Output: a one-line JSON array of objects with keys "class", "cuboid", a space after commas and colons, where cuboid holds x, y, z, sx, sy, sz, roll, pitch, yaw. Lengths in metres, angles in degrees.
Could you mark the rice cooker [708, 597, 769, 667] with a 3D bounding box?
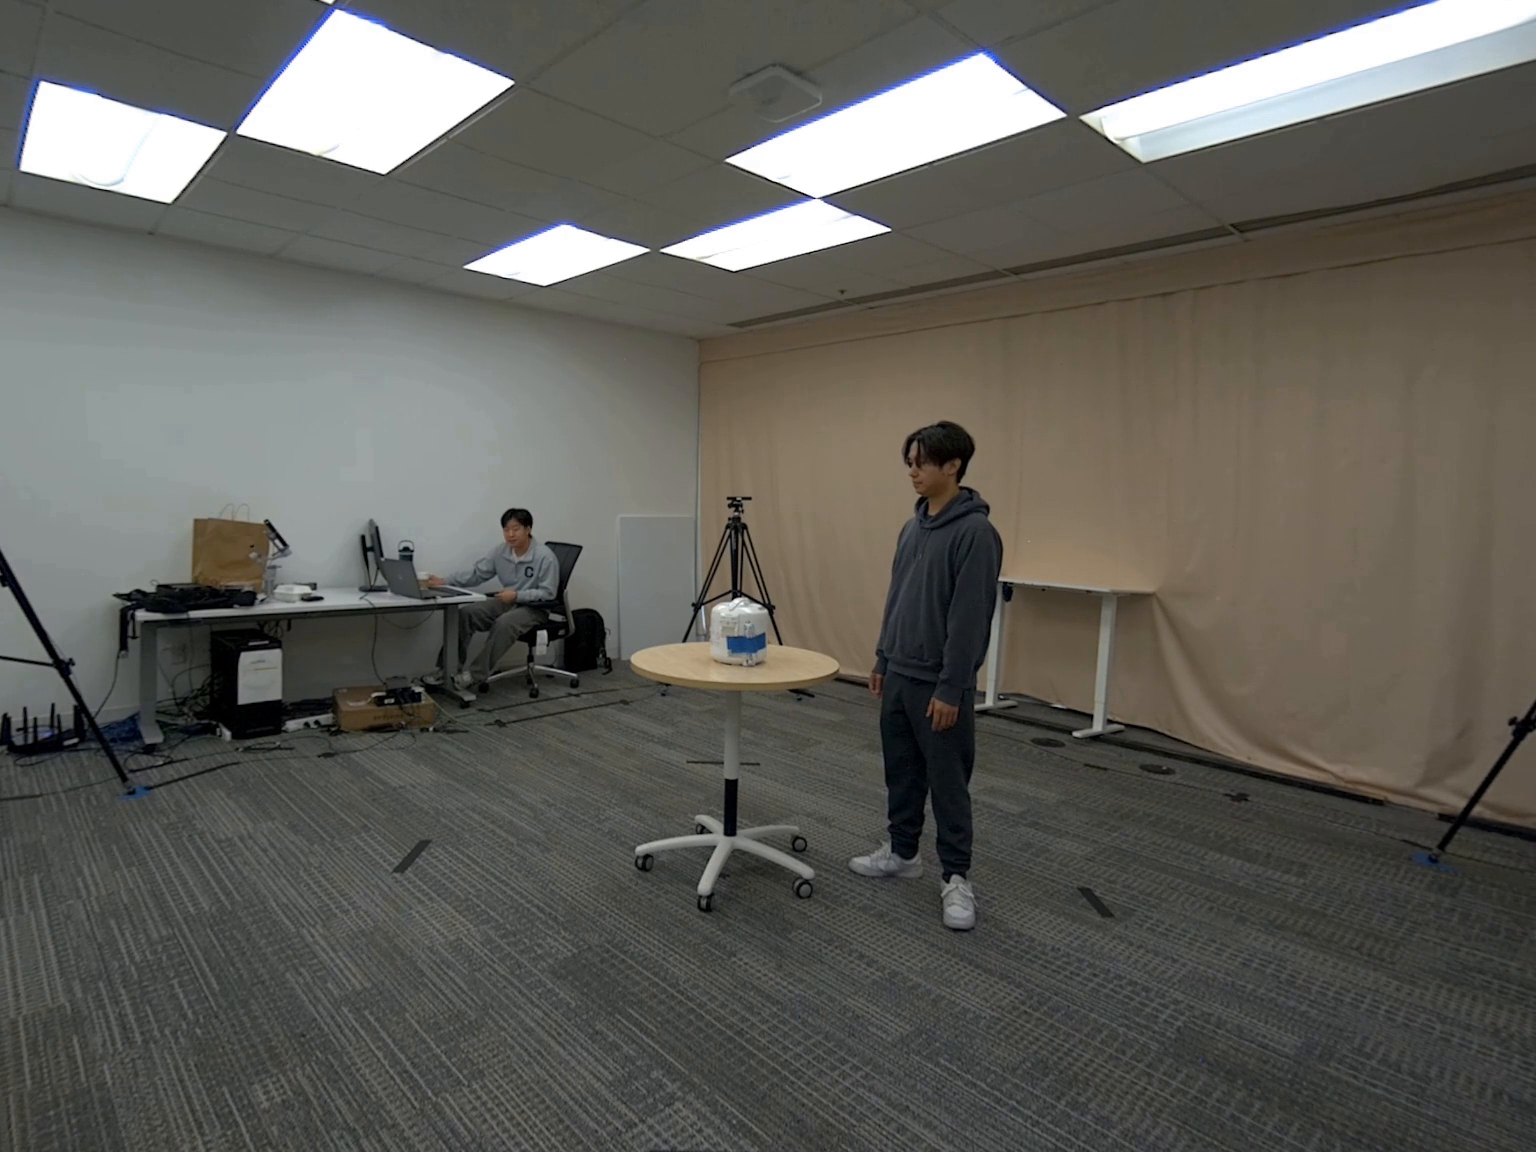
[{"class": "rice cooker", "cuboid": [-0.110, 0.194, 3.074, 0.221, 0.232, 0.217, 4, 5, 22]}]
